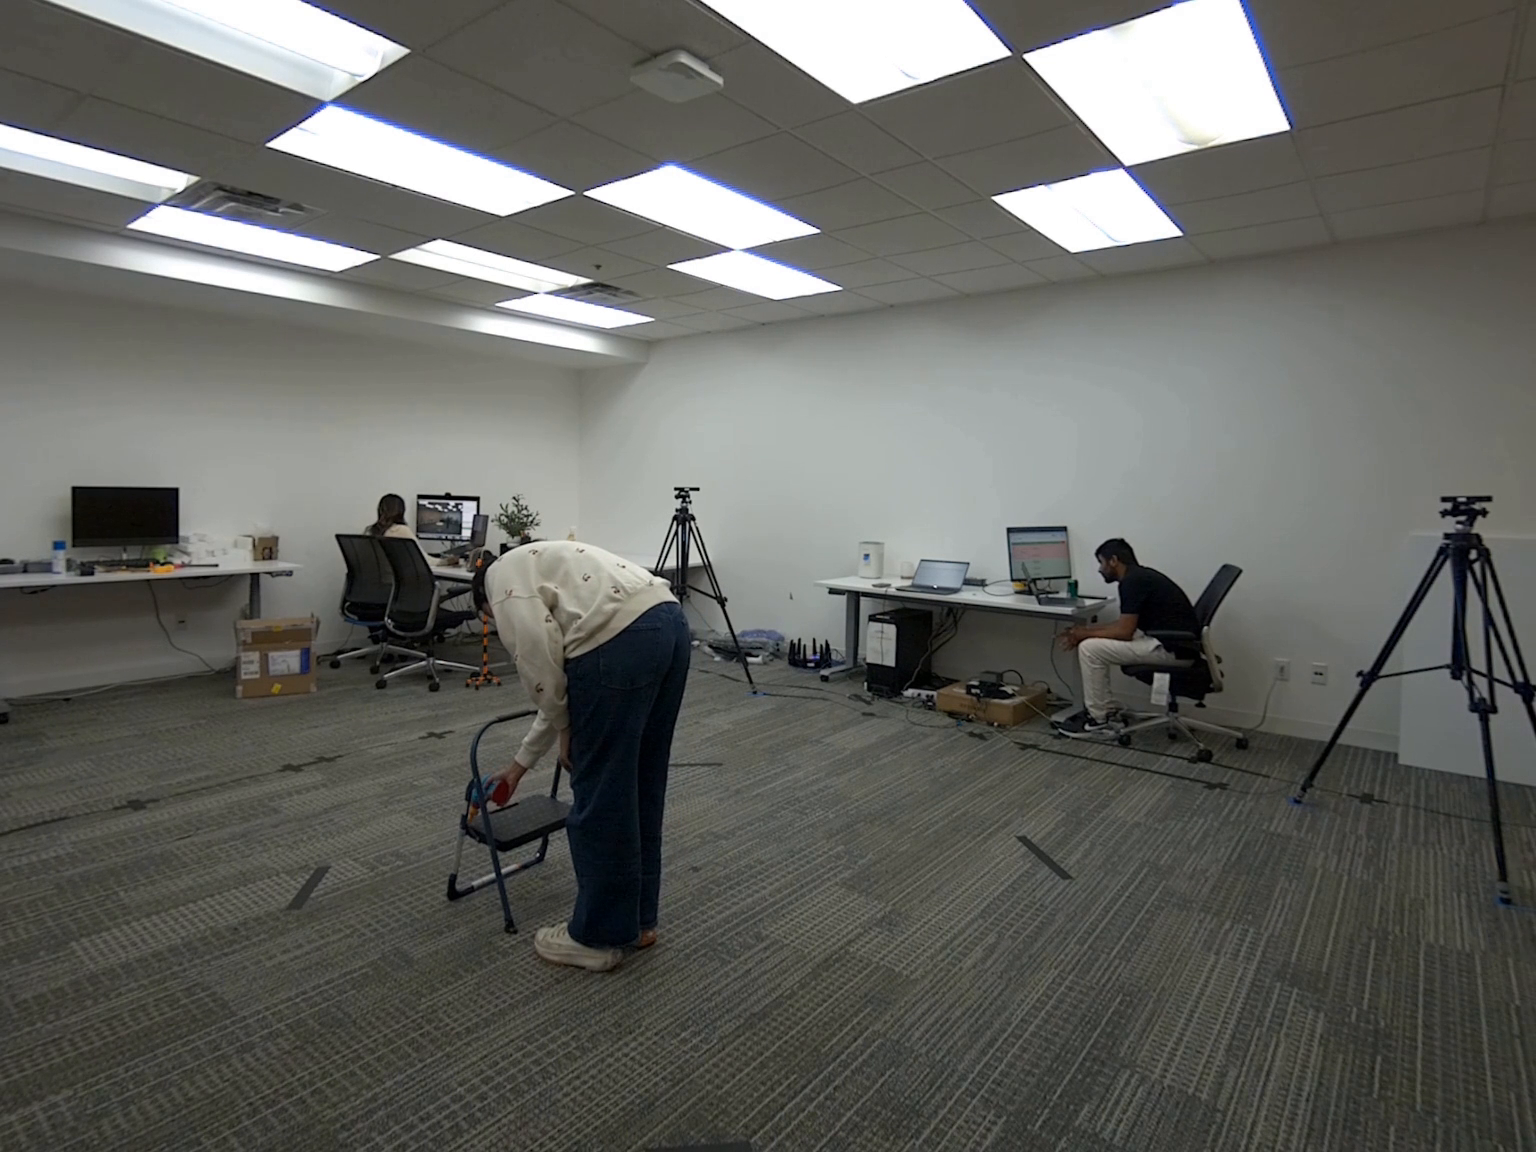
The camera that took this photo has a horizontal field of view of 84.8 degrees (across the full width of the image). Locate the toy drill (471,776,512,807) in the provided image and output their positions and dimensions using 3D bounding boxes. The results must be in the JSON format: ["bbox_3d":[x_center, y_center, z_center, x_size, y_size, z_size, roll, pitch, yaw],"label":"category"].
[{"bbox_3d":[-0.956,0.749,2.804,0.059,0.171,0.150,37,-27,-32],"label":"toy drill"}]
